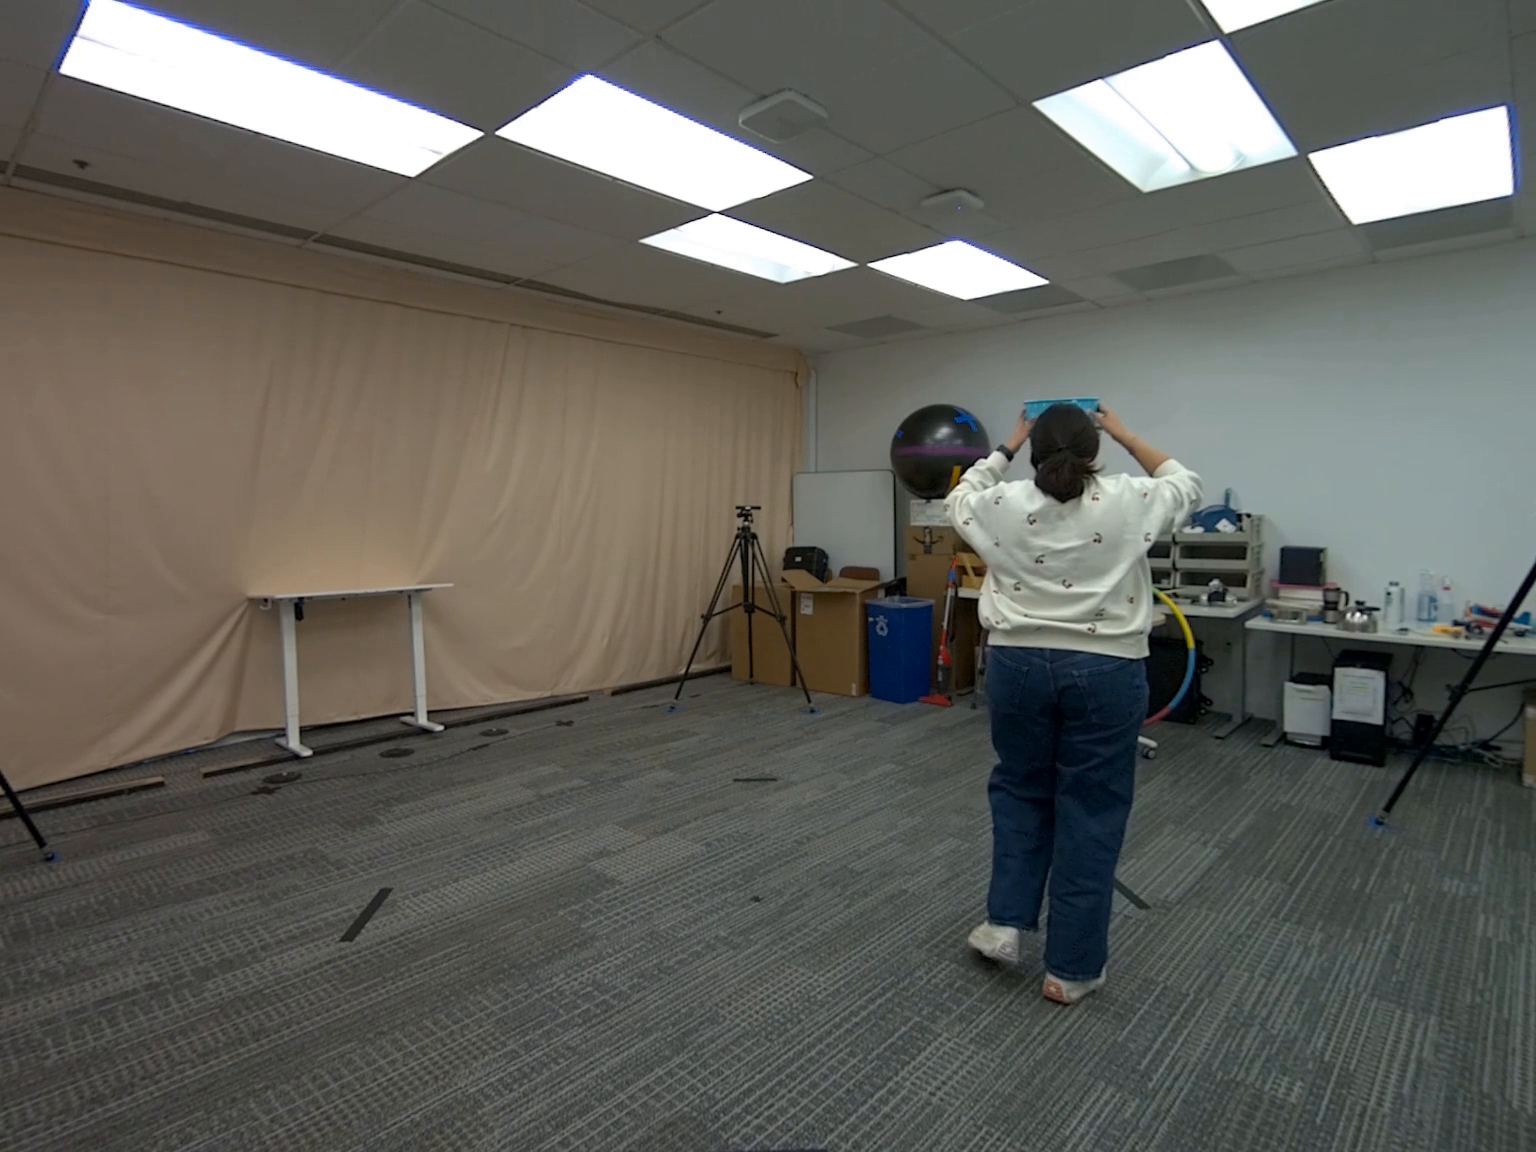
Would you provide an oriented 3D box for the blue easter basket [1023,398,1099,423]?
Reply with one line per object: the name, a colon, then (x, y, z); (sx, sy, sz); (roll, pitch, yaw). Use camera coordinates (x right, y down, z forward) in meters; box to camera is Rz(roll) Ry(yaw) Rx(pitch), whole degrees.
blue easter basket: (0.969, -0.502, 2.727); (0.243, 0.155, 0.245); (-4, 8, -1)
